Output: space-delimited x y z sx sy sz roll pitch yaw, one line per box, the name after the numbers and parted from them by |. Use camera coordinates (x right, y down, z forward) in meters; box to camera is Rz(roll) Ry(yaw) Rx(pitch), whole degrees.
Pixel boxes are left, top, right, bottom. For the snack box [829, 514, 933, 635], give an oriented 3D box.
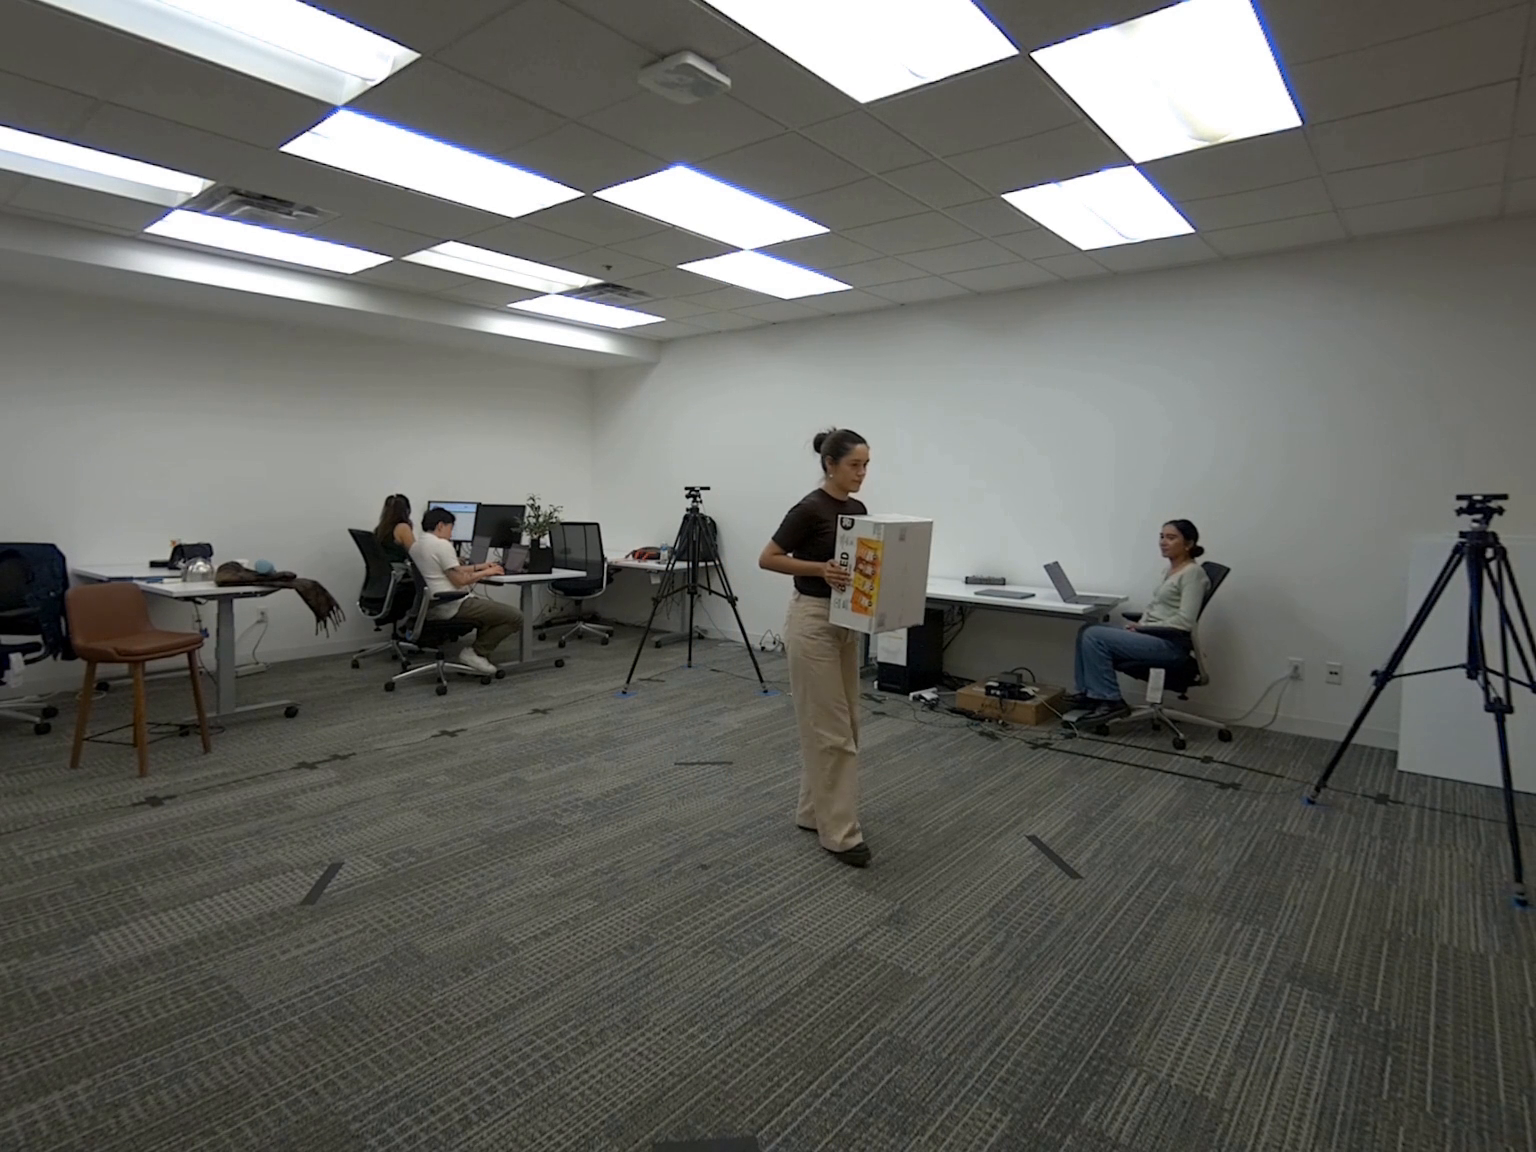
0.420 -0.021 3.198 0.213 0.402 0.330 11 11 43 | snack box
